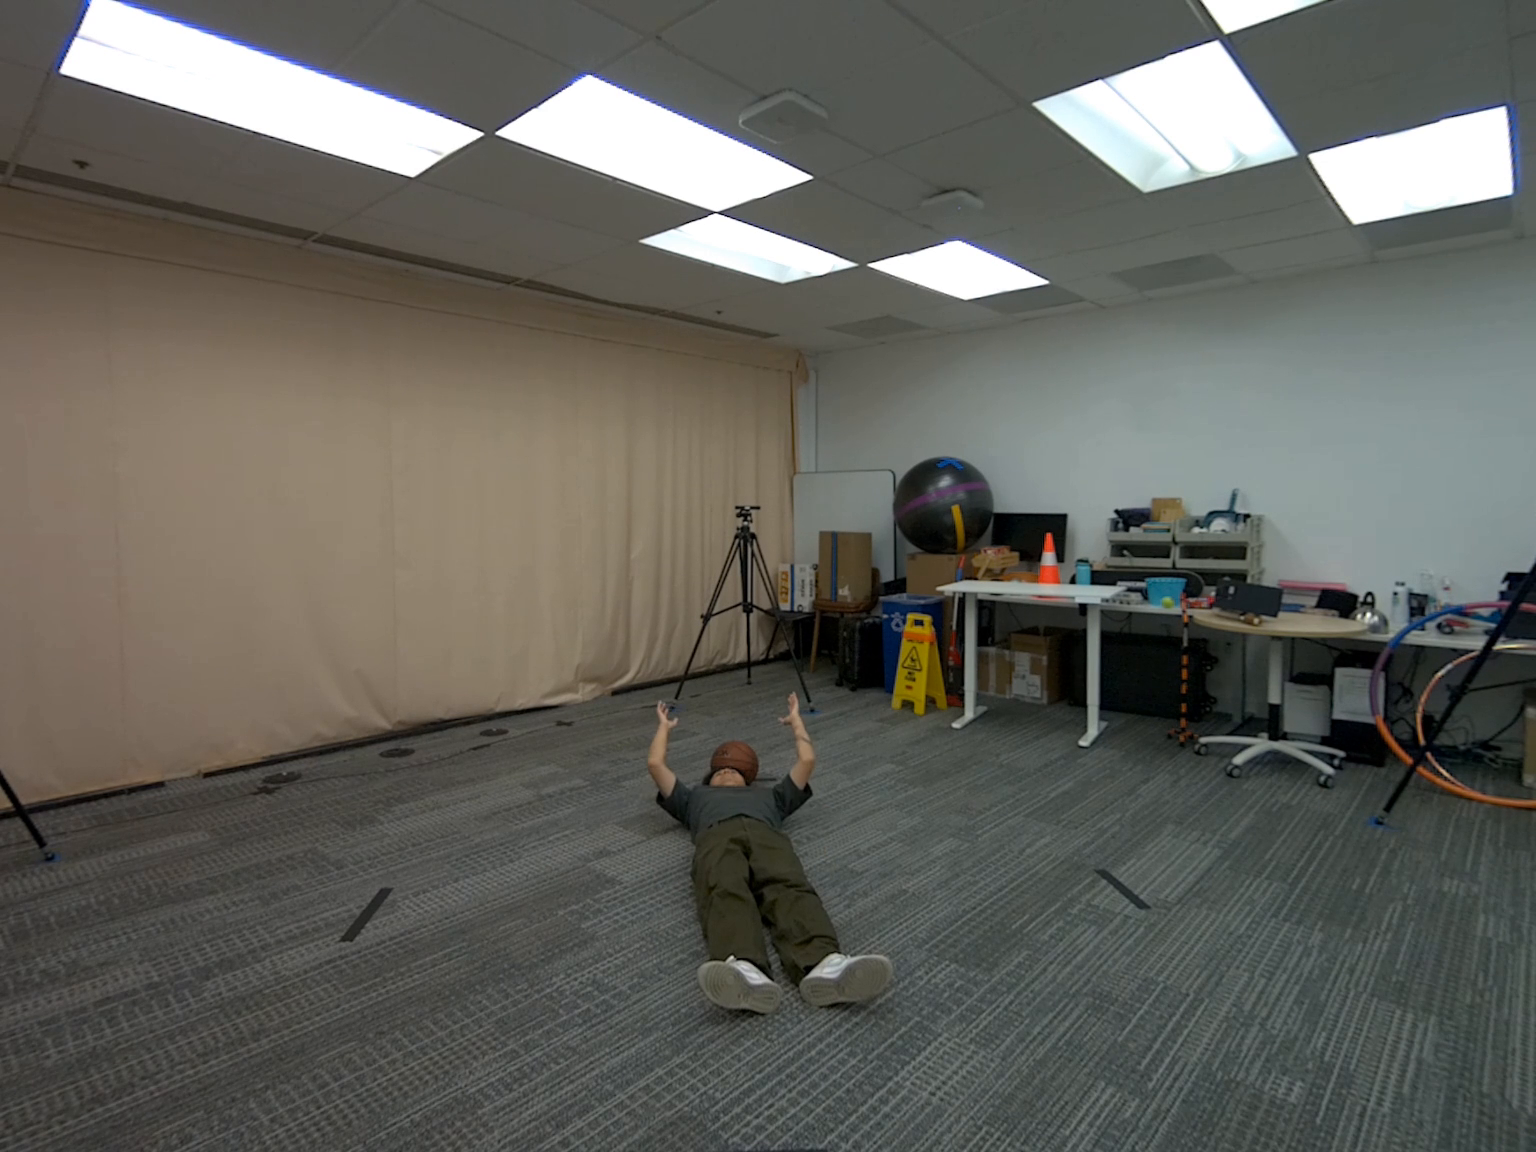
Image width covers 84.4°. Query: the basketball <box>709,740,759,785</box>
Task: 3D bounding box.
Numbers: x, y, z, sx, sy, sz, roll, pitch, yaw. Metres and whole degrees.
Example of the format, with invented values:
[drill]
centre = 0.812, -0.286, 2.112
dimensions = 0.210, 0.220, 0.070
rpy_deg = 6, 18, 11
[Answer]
[basketball]
centre = -0.164, 0.928, 4.150
dimensions = 0.236, 0.235, 0.237
rpy_deg = 0, 4, -2
